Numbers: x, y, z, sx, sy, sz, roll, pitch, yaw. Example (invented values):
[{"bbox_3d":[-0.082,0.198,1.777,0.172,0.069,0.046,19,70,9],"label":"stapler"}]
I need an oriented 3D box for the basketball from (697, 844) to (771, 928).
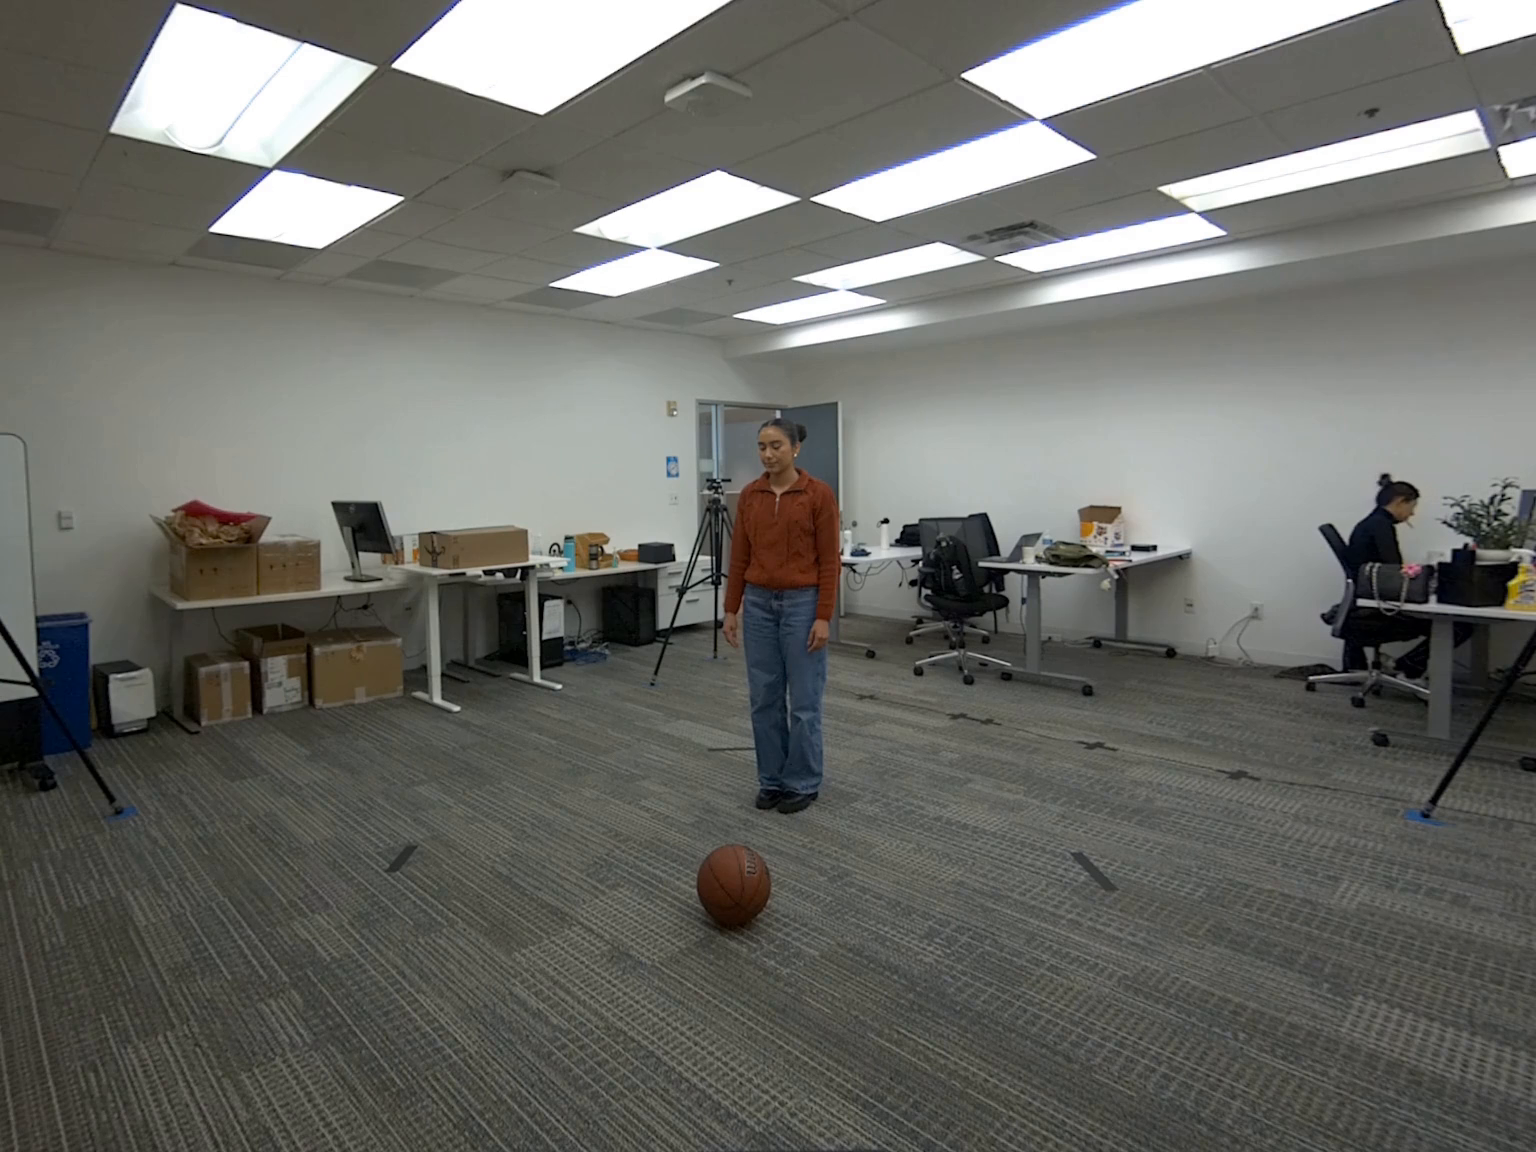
[{"bbox_3d":[-0.101,0.971,2.706,0.236,0.235,0.237,-1,5,-2],"label":"basketball"}]
